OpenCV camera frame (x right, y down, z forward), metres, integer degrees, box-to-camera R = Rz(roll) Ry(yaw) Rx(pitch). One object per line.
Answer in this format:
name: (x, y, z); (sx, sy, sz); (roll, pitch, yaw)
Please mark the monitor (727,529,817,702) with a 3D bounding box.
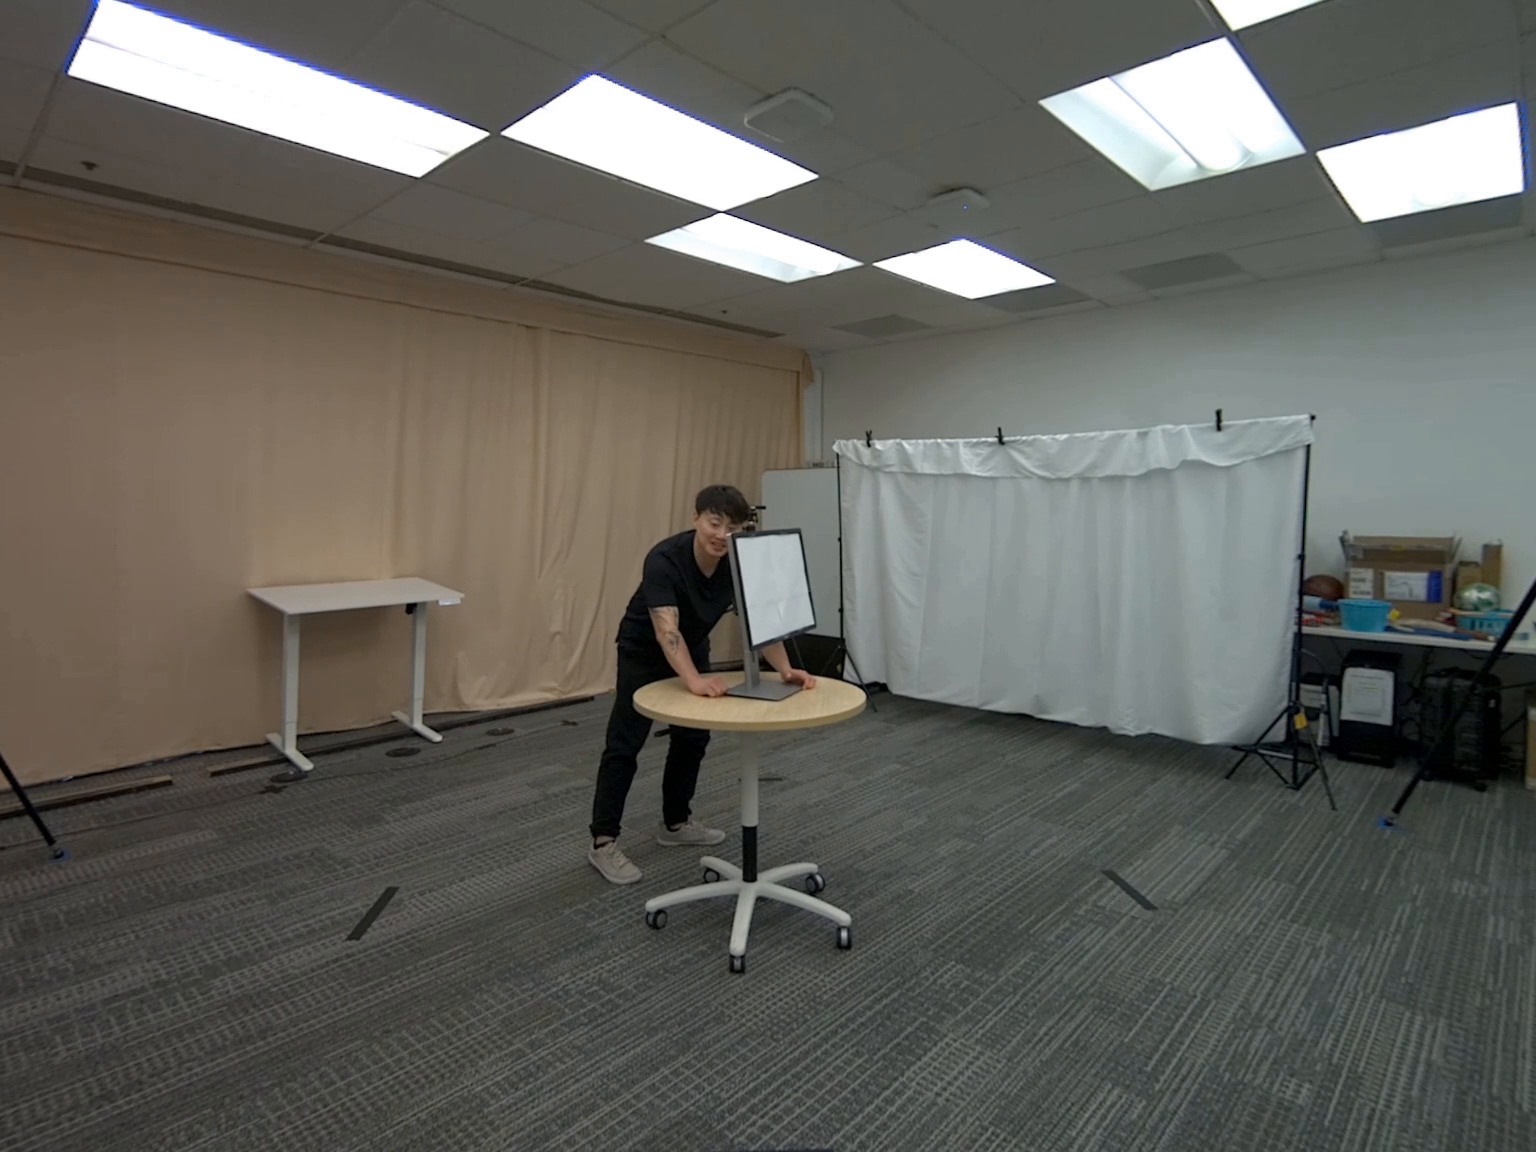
monitor: (-0.011, 0.120, 2.809); (0.191, 0.521, 0.528); (5, 6, 20)
